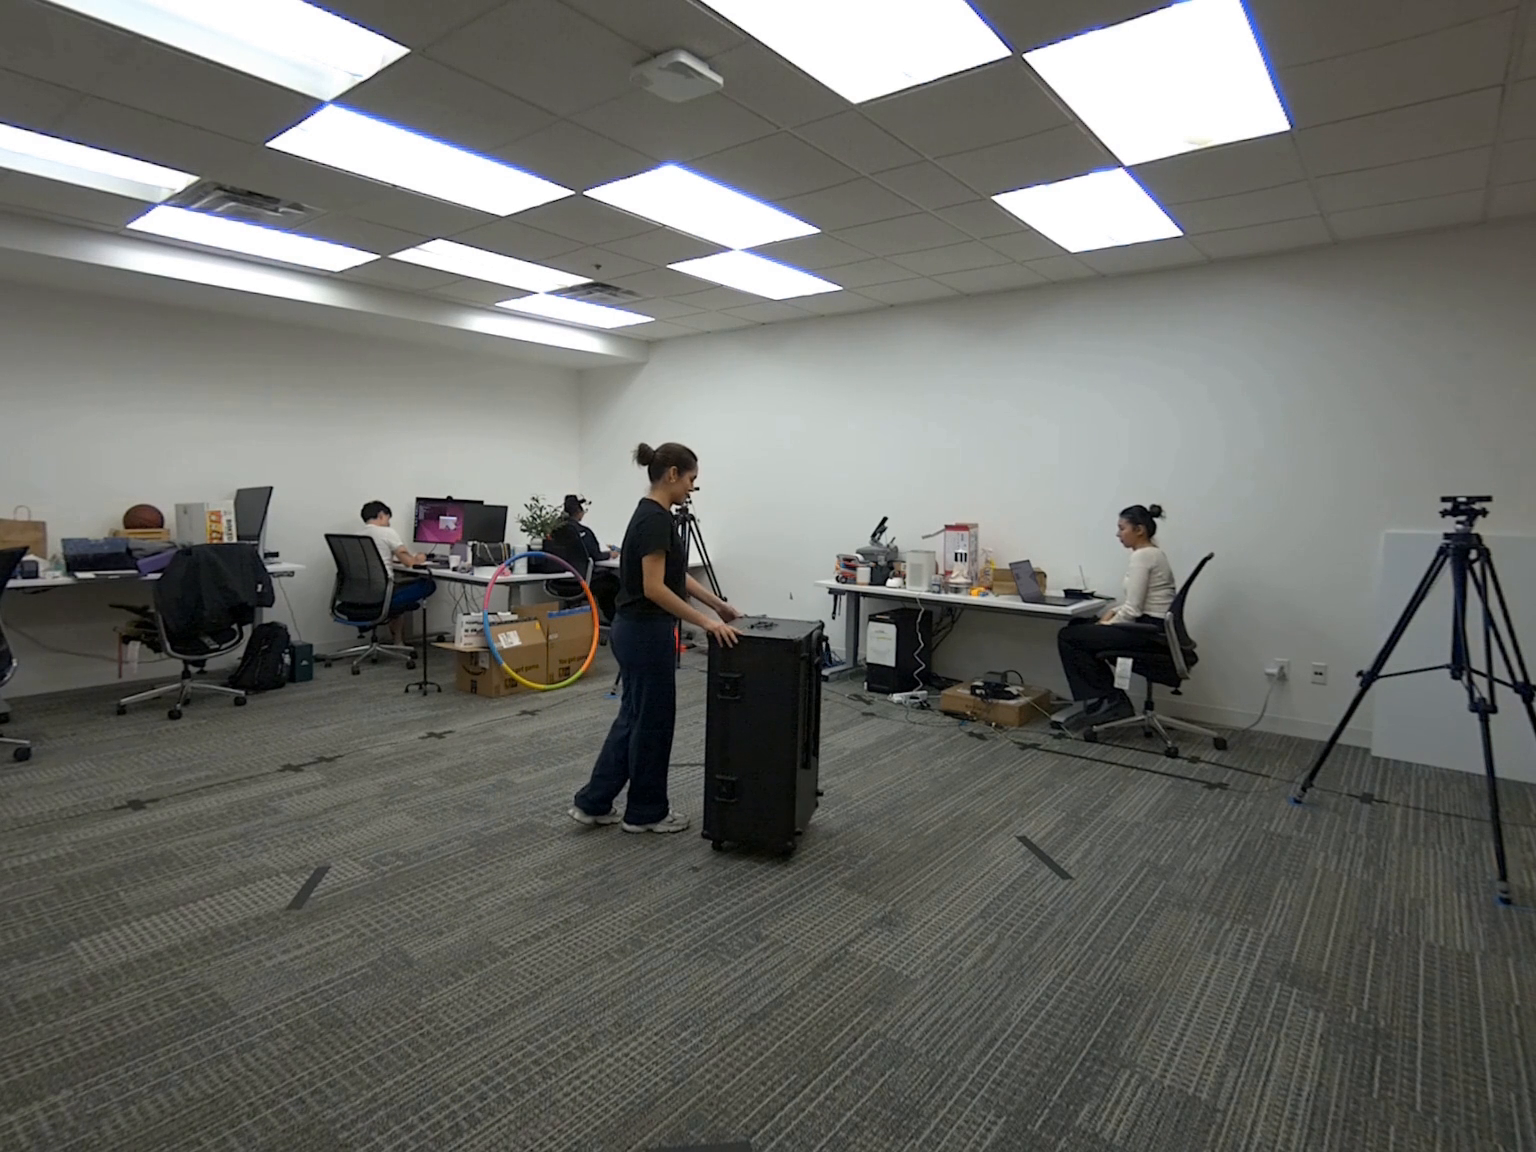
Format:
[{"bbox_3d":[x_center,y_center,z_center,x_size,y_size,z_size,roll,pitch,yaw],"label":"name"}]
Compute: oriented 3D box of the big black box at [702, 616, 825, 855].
[{"bbox_3d":[0.023,0.619,3.372,0.404,0.859,0.513,3,4,16],"label":"big black box"}]
